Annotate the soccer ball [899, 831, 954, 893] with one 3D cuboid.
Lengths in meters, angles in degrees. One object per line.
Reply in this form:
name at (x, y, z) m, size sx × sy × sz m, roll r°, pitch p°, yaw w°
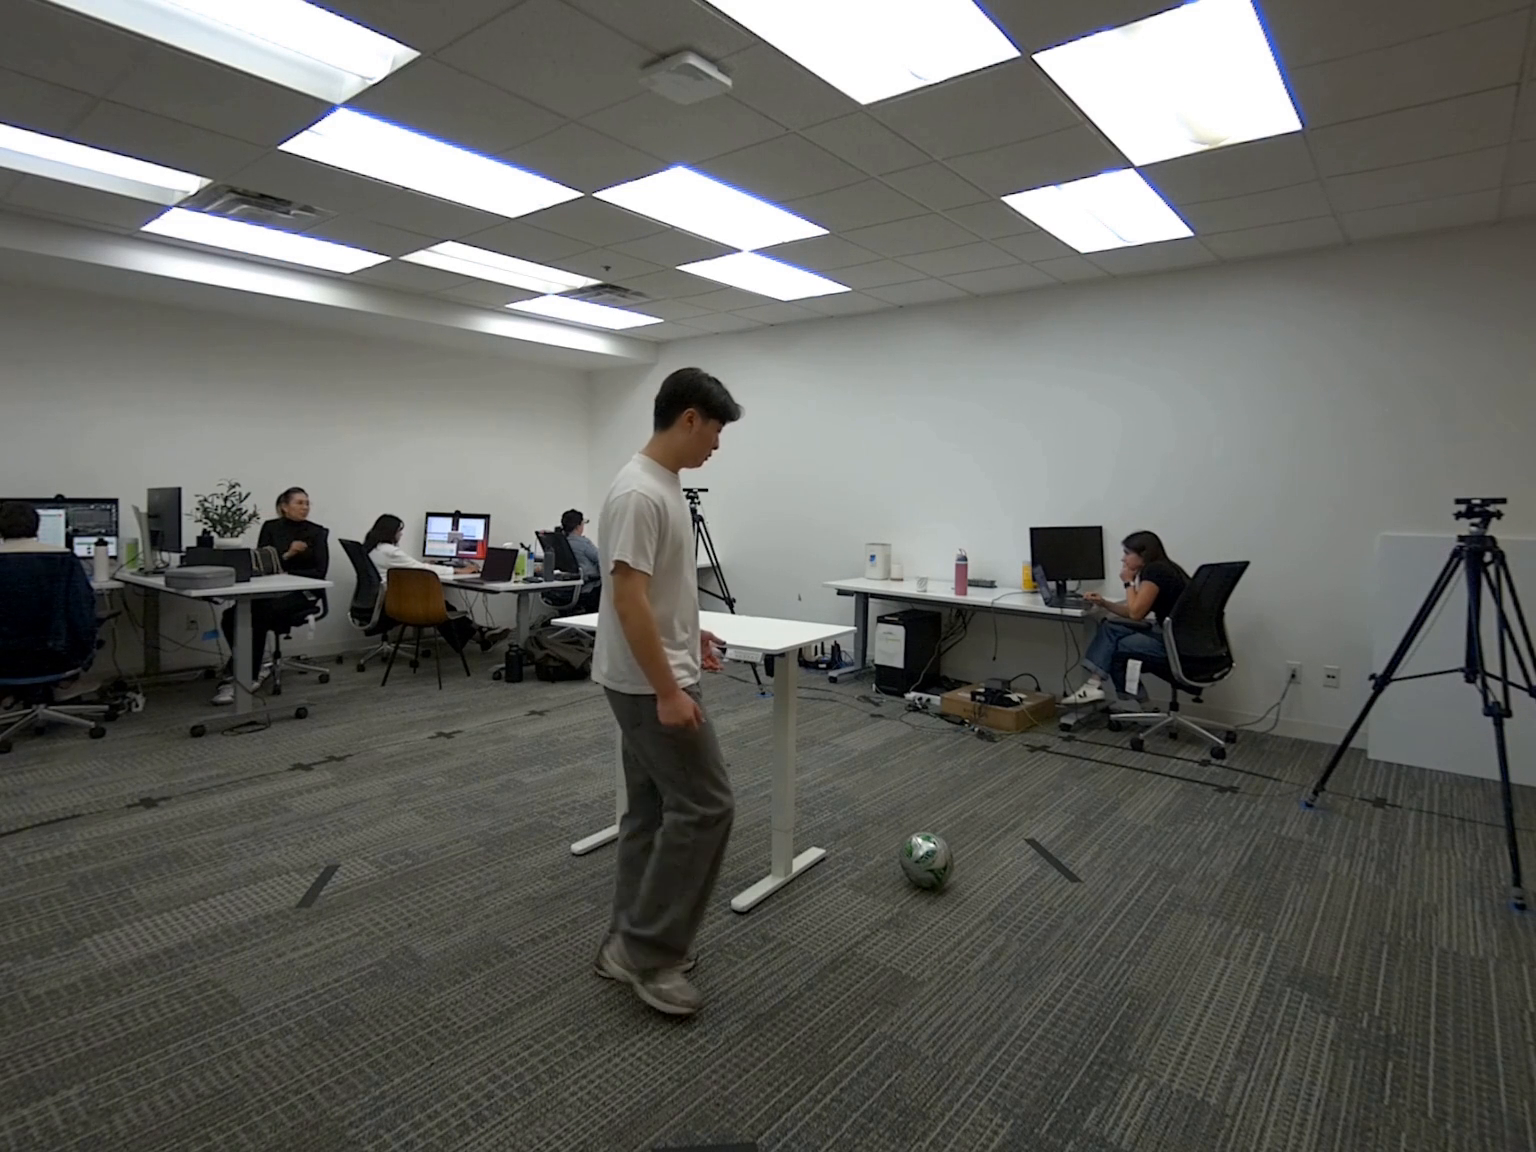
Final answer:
soccer ball at (0.569, 1.002, 3.021) m, size 0.187 × 0.187 × 0.188 m, roll 1°, pitch 4°, yaw -2°
